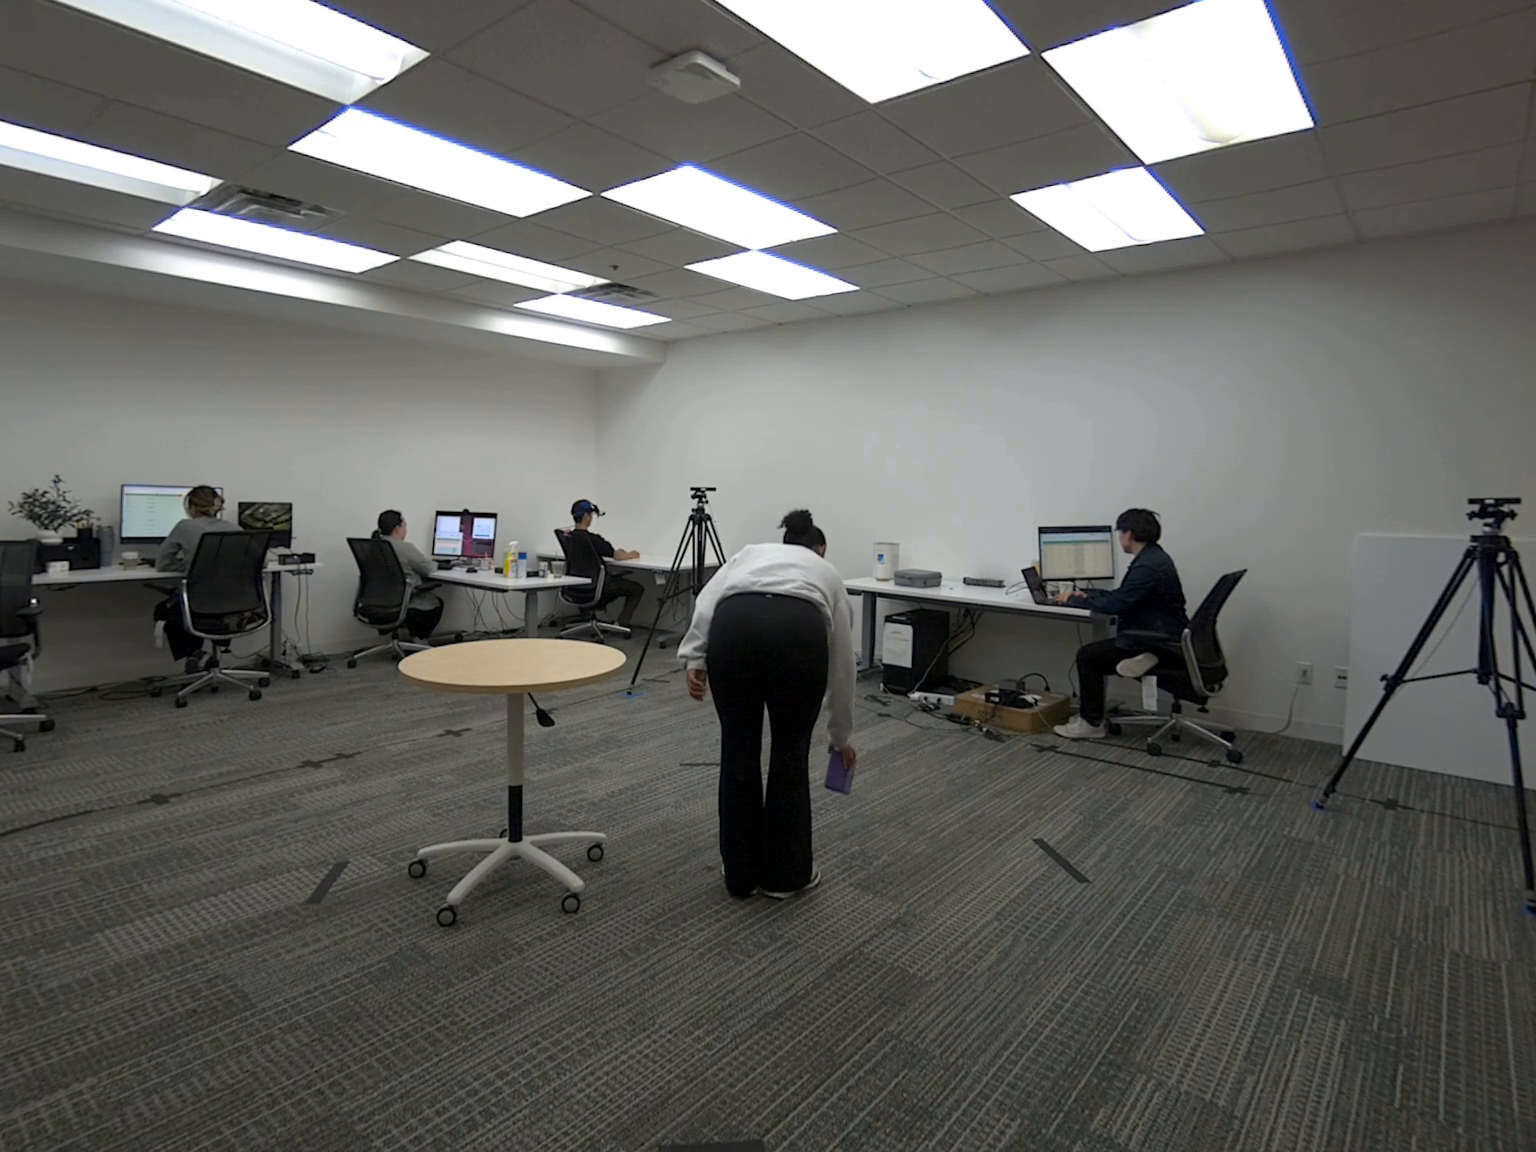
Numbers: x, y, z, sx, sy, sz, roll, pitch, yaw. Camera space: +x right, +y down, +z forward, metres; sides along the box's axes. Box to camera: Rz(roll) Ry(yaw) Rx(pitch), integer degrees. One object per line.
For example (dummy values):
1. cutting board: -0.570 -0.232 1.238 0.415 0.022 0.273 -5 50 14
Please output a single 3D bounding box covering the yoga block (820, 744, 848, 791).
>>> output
1. yoga block: 0.263 0.746 3.280 0.077 0.150 0.224 11 -14 11
